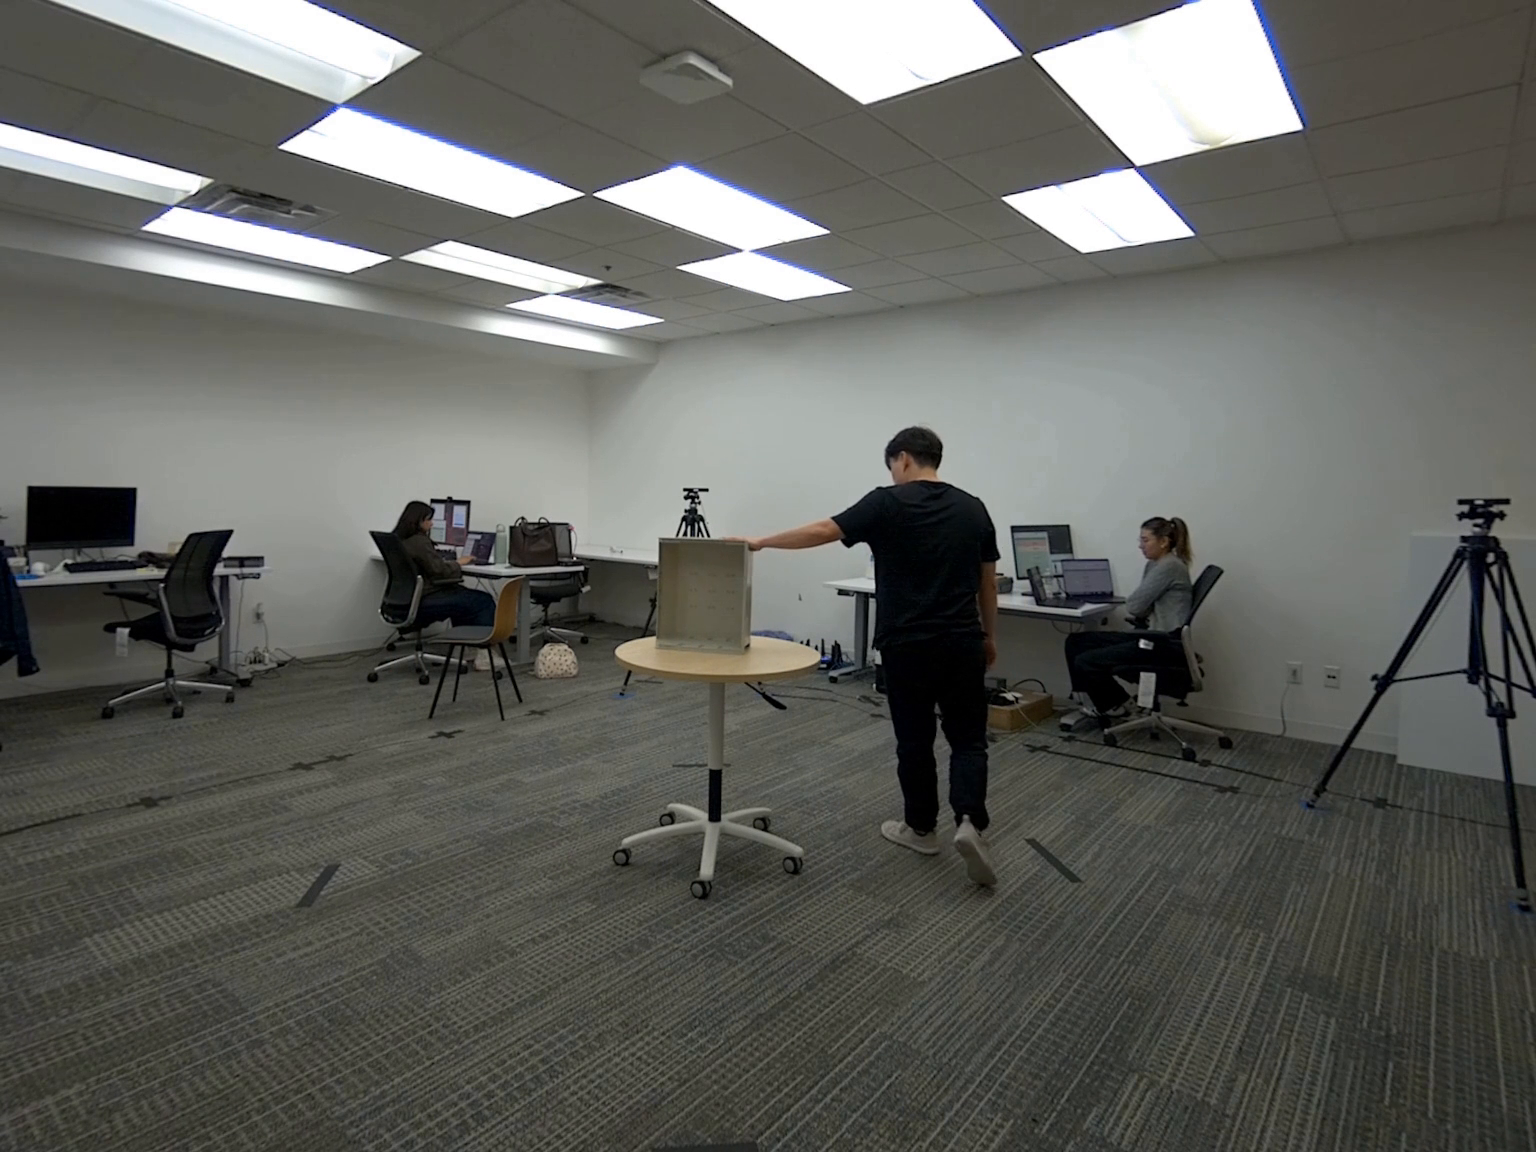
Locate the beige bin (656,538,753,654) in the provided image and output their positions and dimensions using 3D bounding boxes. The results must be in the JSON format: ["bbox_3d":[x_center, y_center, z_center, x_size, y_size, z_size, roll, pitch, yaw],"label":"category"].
[{"bbox_3d":[-0.262,0.061,3.259,0.383,0.421,0.186,2,2,14],"label":"beige bin"}]
